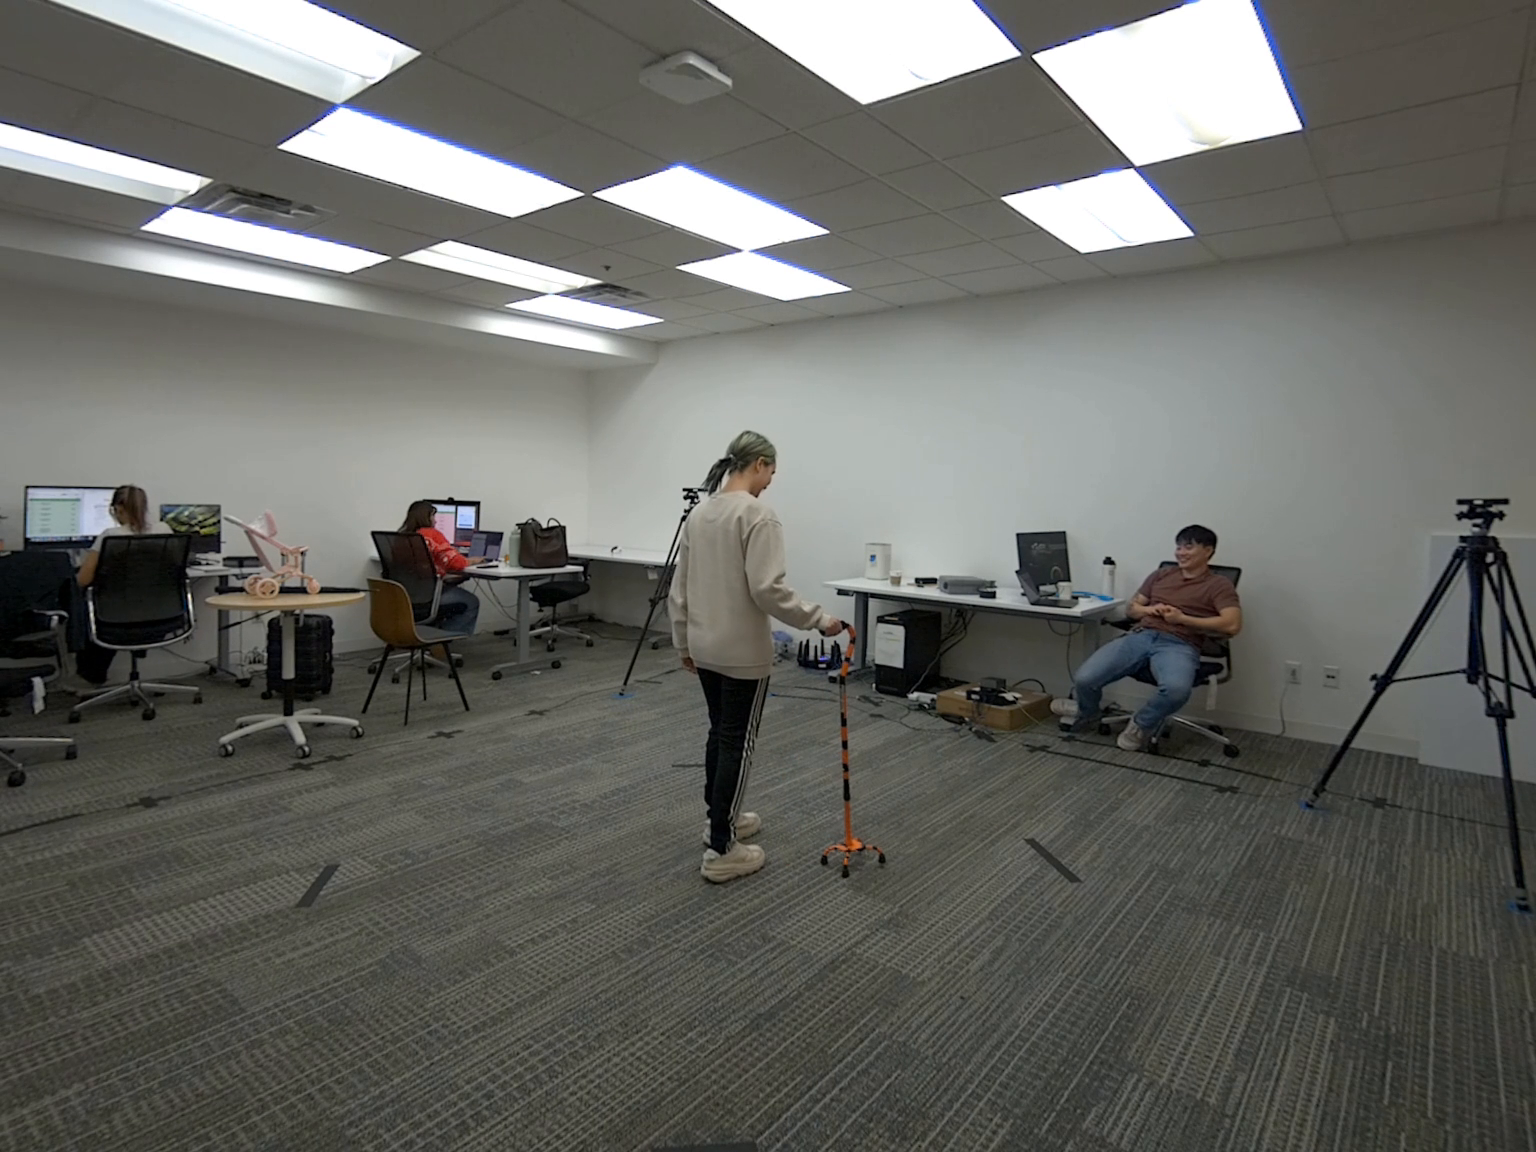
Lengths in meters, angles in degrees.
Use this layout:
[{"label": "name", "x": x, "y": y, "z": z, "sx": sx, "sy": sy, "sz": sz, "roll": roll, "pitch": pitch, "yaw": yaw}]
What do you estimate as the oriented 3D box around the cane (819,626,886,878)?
[{"label": "cane", "x": 0.296, "y": 0.617, "z": 3.131, "sx": 0.201, "sy": 0.903, "sz": 0.156, "roll": -6, "pitch": 6, "yaw": -34}]
